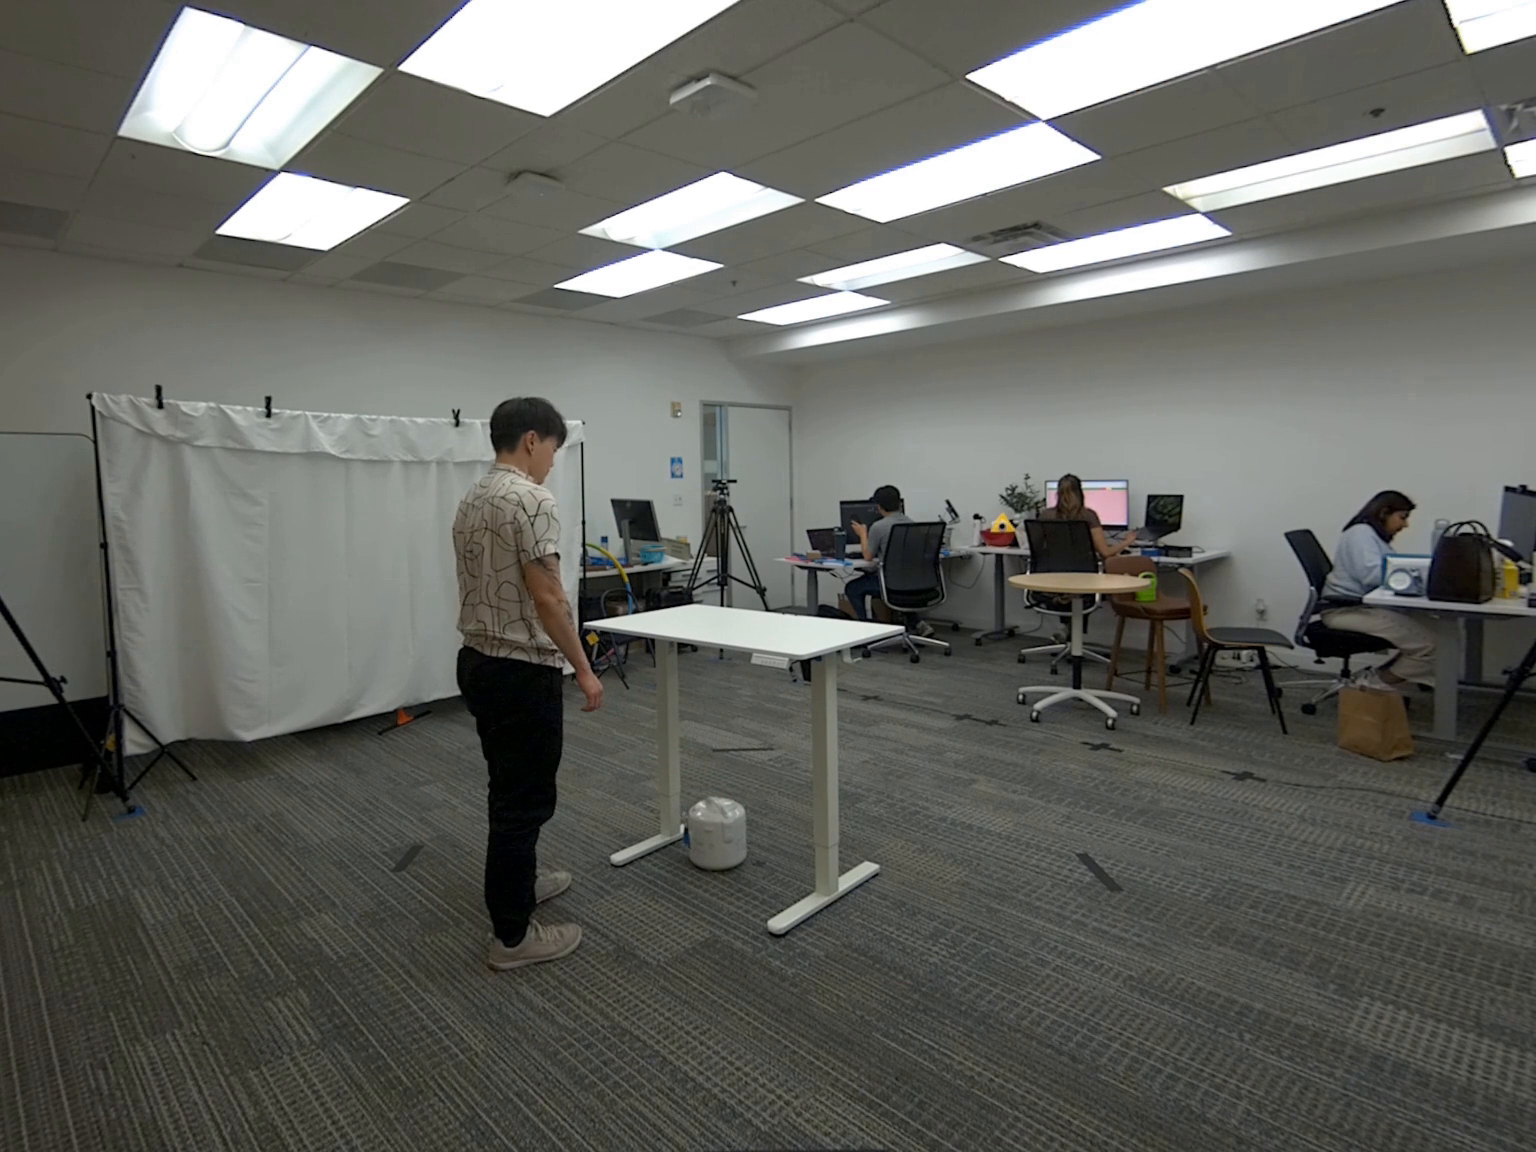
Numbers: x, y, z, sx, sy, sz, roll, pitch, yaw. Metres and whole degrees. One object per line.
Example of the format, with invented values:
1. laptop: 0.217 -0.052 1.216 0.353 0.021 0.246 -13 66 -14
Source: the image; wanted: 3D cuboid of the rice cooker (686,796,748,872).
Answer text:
1. rice cooker: -0.180 0.931 3.128 0.213 0.232 0.226 -4 6 -24
